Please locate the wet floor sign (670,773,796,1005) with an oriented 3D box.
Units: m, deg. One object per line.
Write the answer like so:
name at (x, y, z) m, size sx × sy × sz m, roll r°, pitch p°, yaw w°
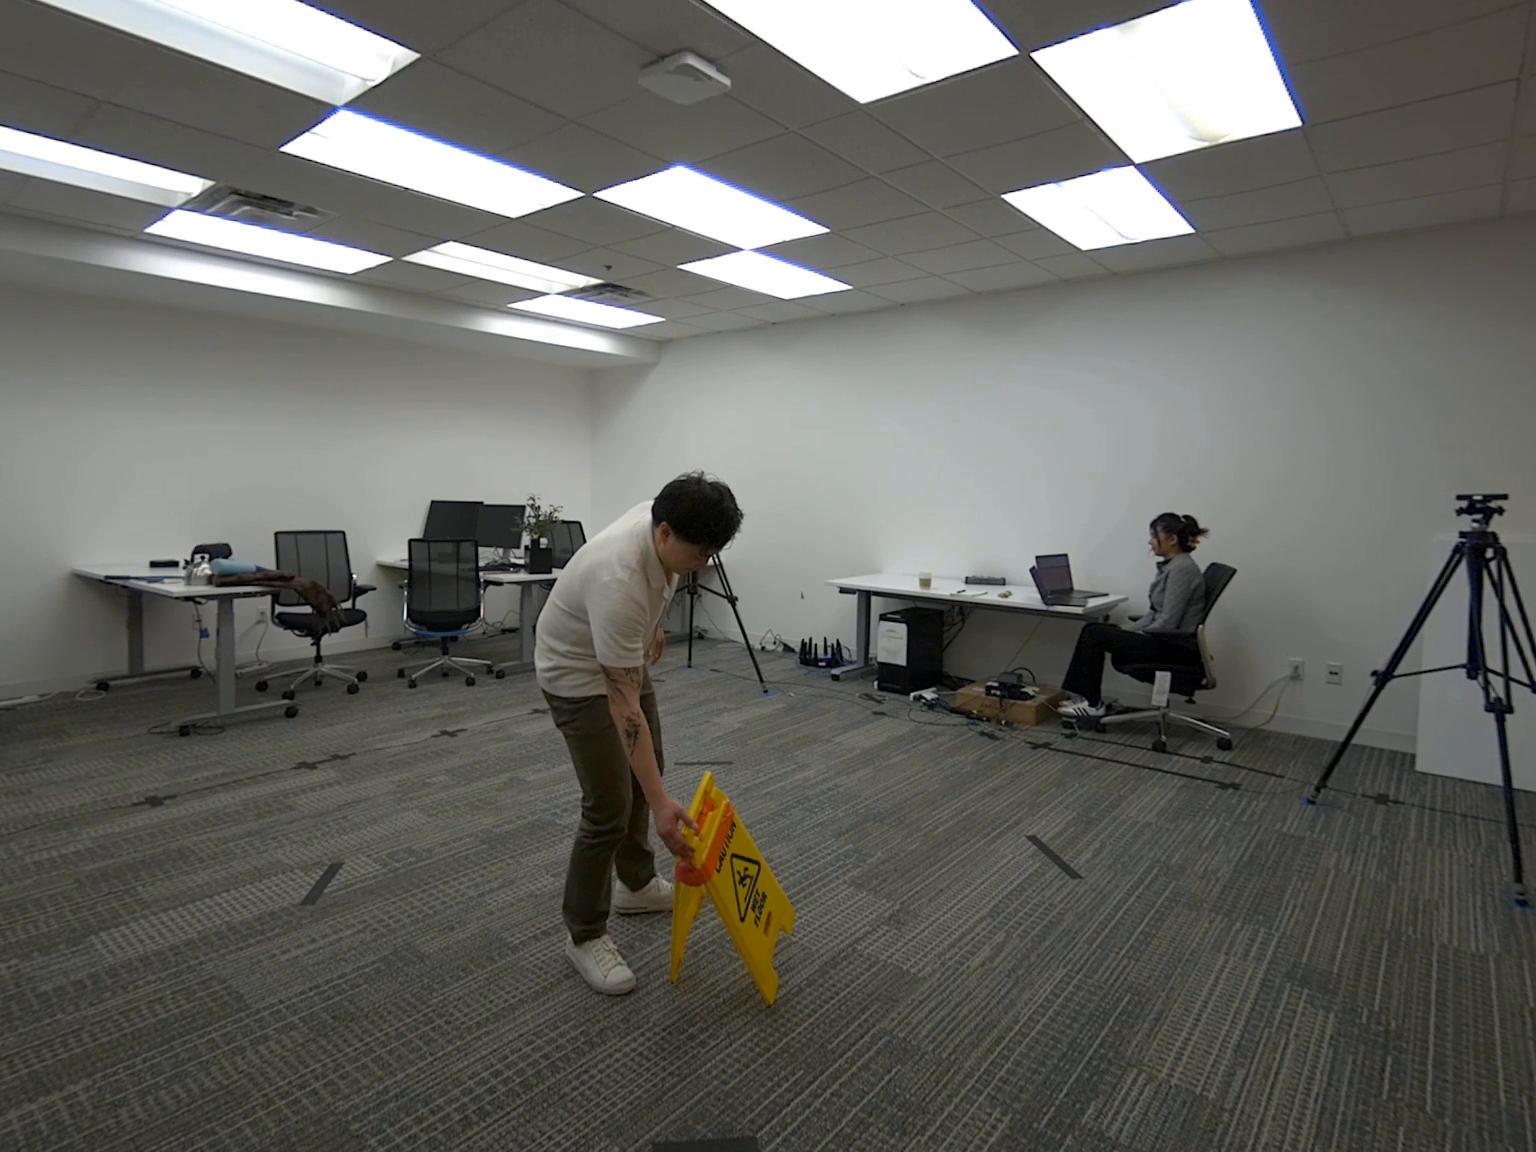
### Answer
wet floor sign at (-0.138, 0.811, 2.274) m, size 0.296 × 0.626 × 0.285 m, roll 4°, pitch 36°, yaw 18°
